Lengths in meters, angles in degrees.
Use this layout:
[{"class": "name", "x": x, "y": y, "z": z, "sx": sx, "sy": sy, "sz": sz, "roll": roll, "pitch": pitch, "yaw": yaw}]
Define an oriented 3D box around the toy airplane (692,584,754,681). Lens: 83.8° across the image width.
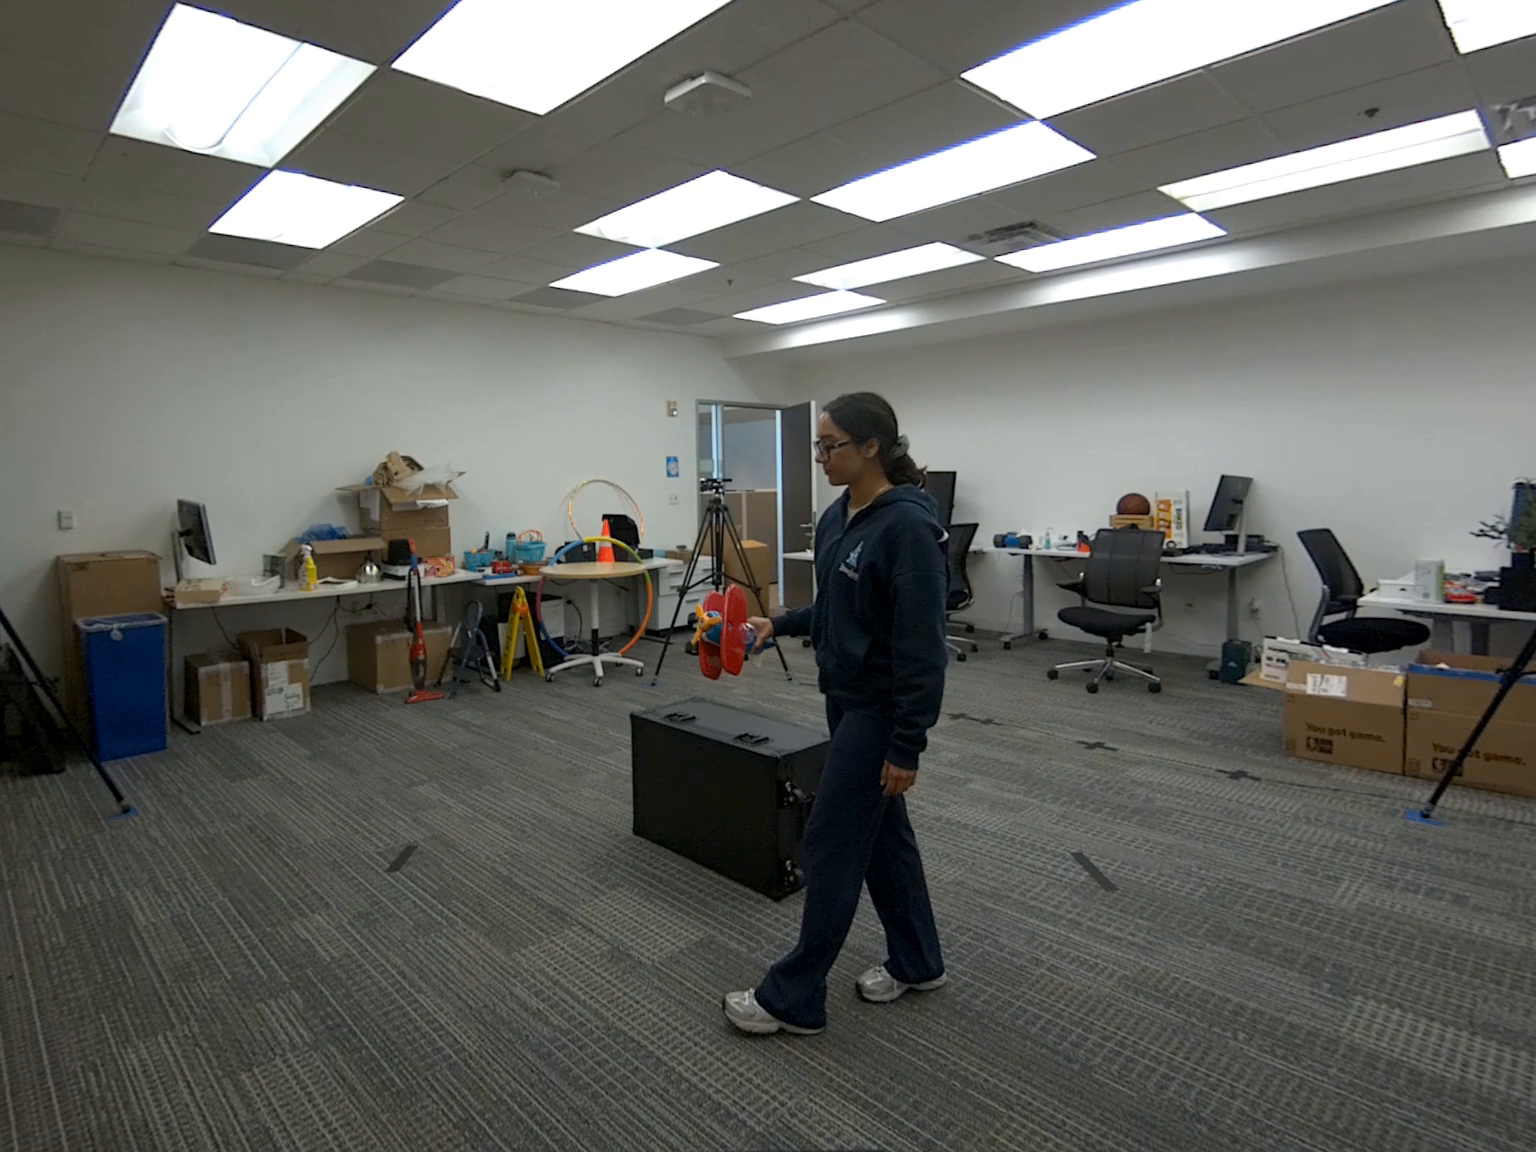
[{"class": "toy airplane", "x": -0.105, "y": 0.153, "z": 2.404, "sx": 0.253, "sy": 0.254, "sz": 0.158, "roll": -12, "pitch": -13, "yaw": -40}]
